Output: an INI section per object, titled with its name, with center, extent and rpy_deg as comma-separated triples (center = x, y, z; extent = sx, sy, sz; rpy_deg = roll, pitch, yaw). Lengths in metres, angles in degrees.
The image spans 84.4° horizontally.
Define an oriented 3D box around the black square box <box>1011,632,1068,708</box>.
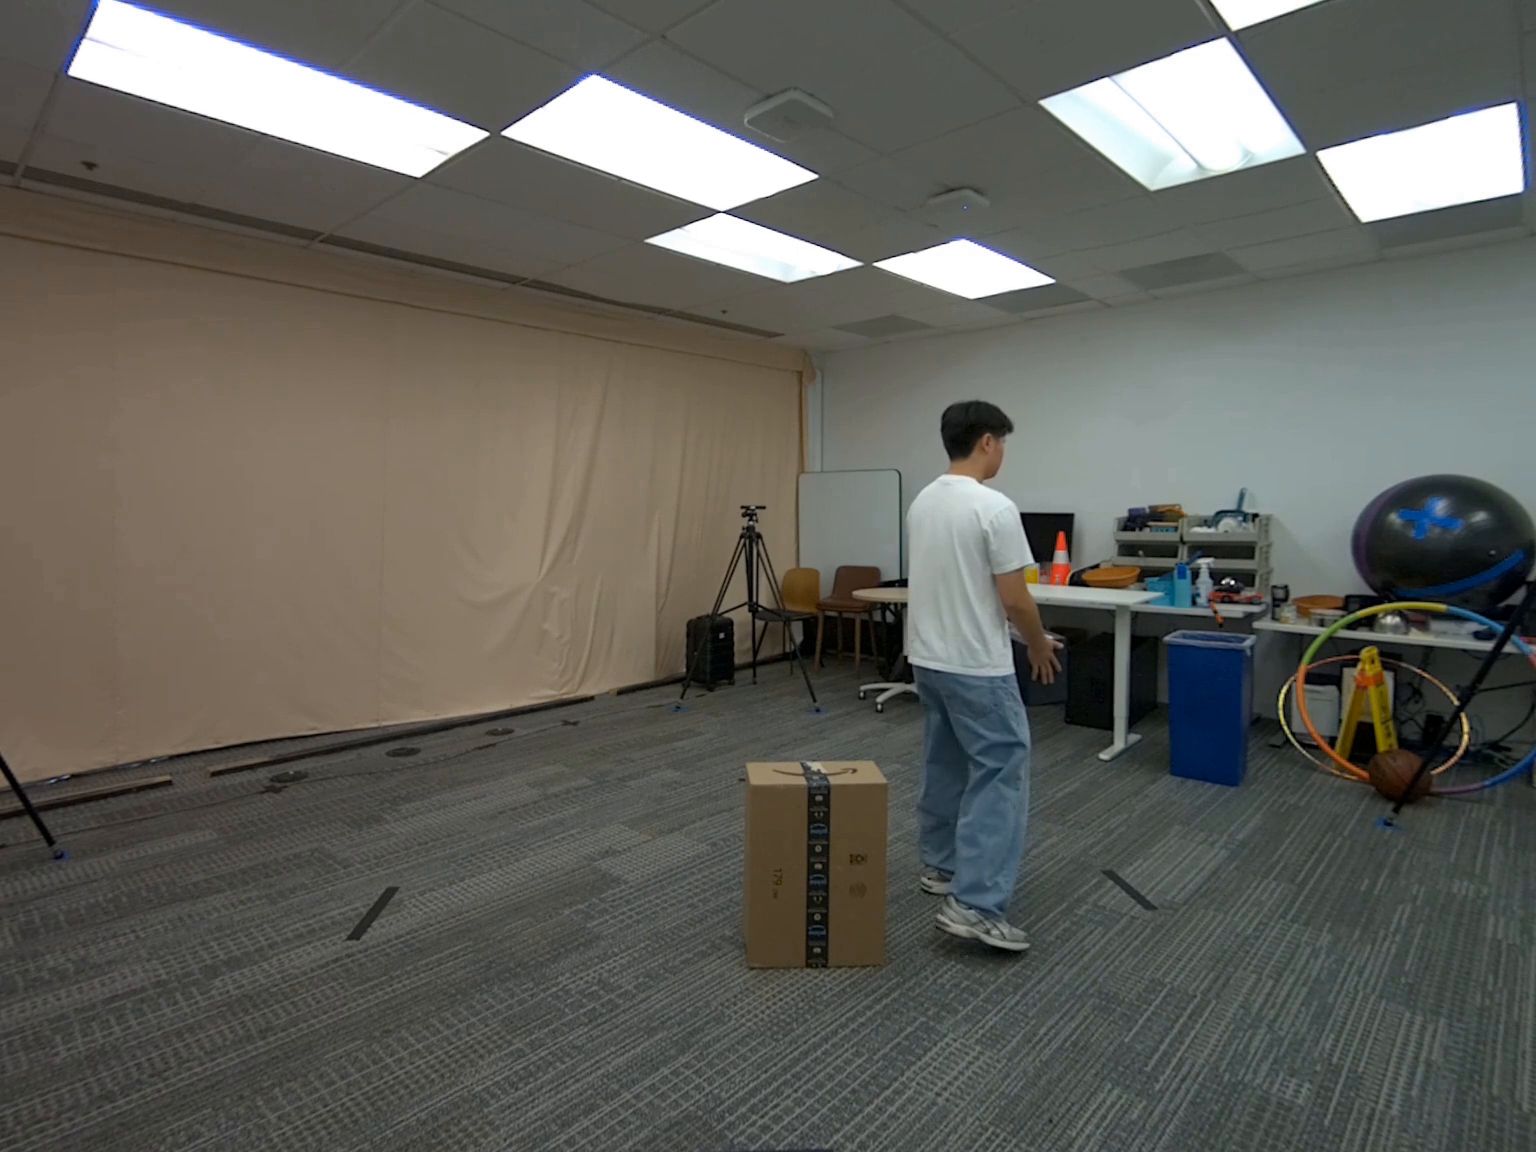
[black square box]
center = 0.945, 0.328, 3.001
extent = 0.154, 0.226, 0.221
rpy_deg = -7, 10, -15
